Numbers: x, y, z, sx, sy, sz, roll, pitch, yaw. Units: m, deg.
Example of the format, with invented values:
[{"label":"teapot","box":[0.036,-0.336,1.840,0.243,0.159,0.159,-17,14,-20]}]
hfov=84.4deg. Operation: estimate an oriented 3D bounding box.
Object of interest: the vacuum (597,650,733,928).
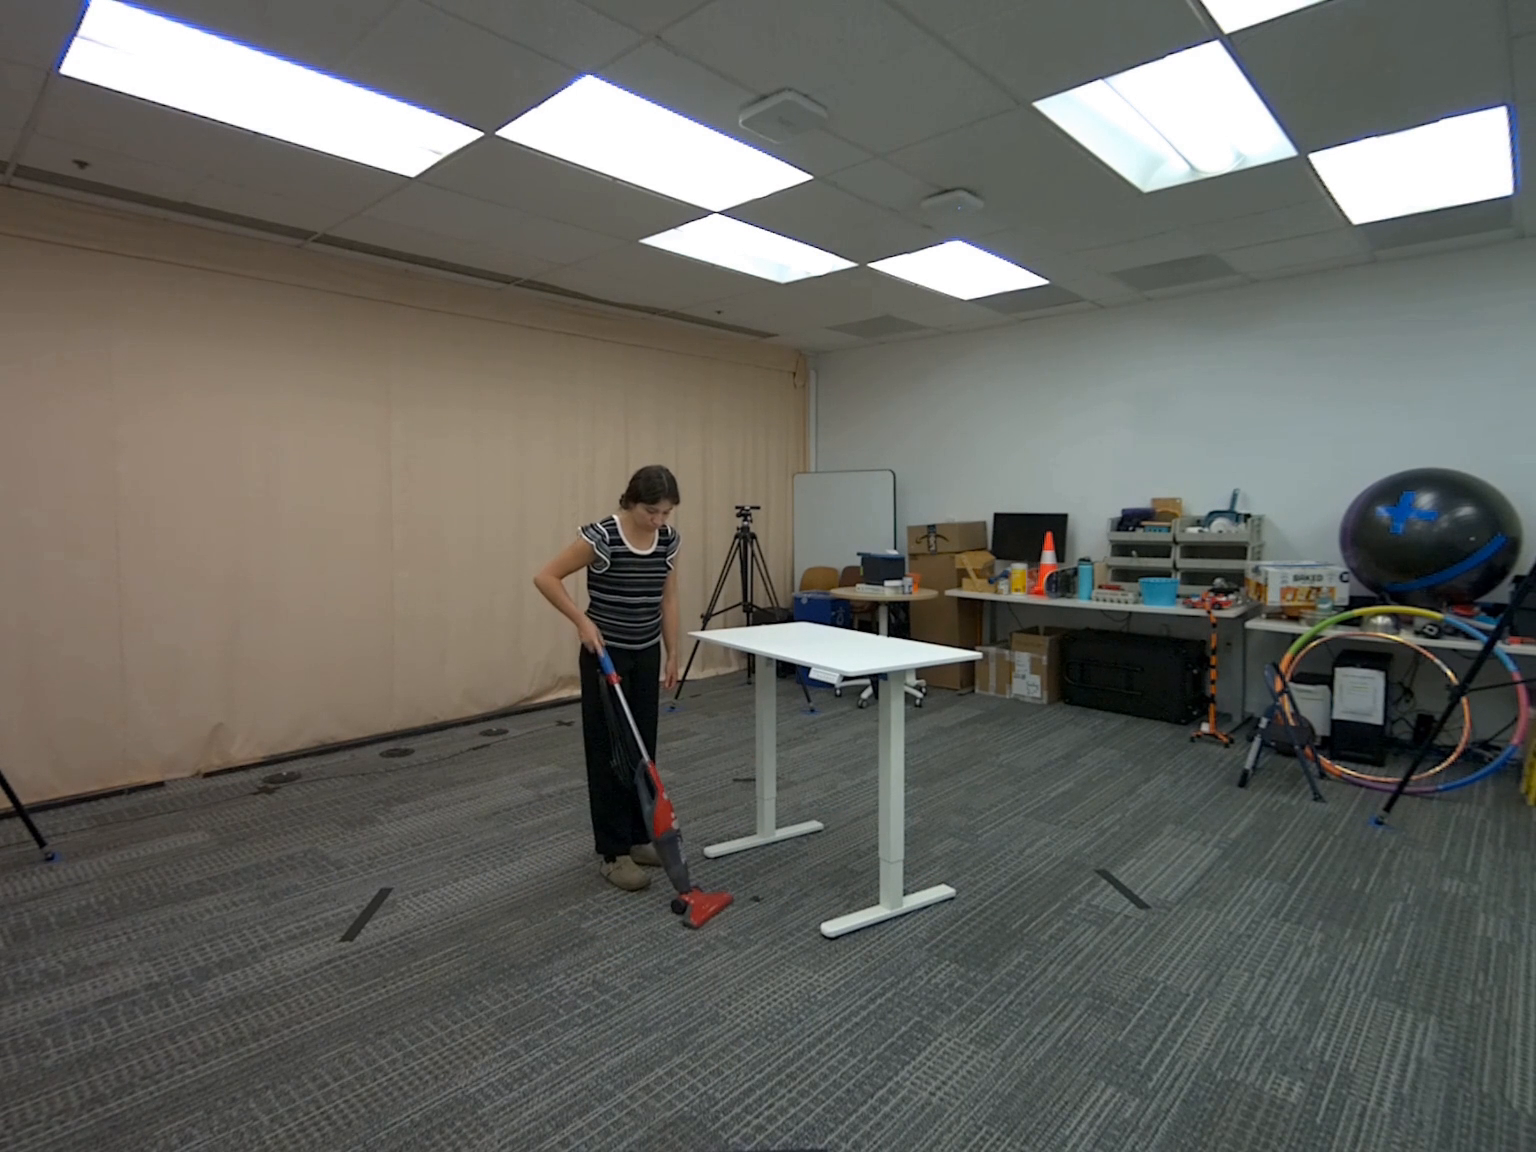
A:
[{"label":"vacuum","box":[-0.445,0.678,3.001,0.146,1.061,0.246,-30,-12,29]}]
